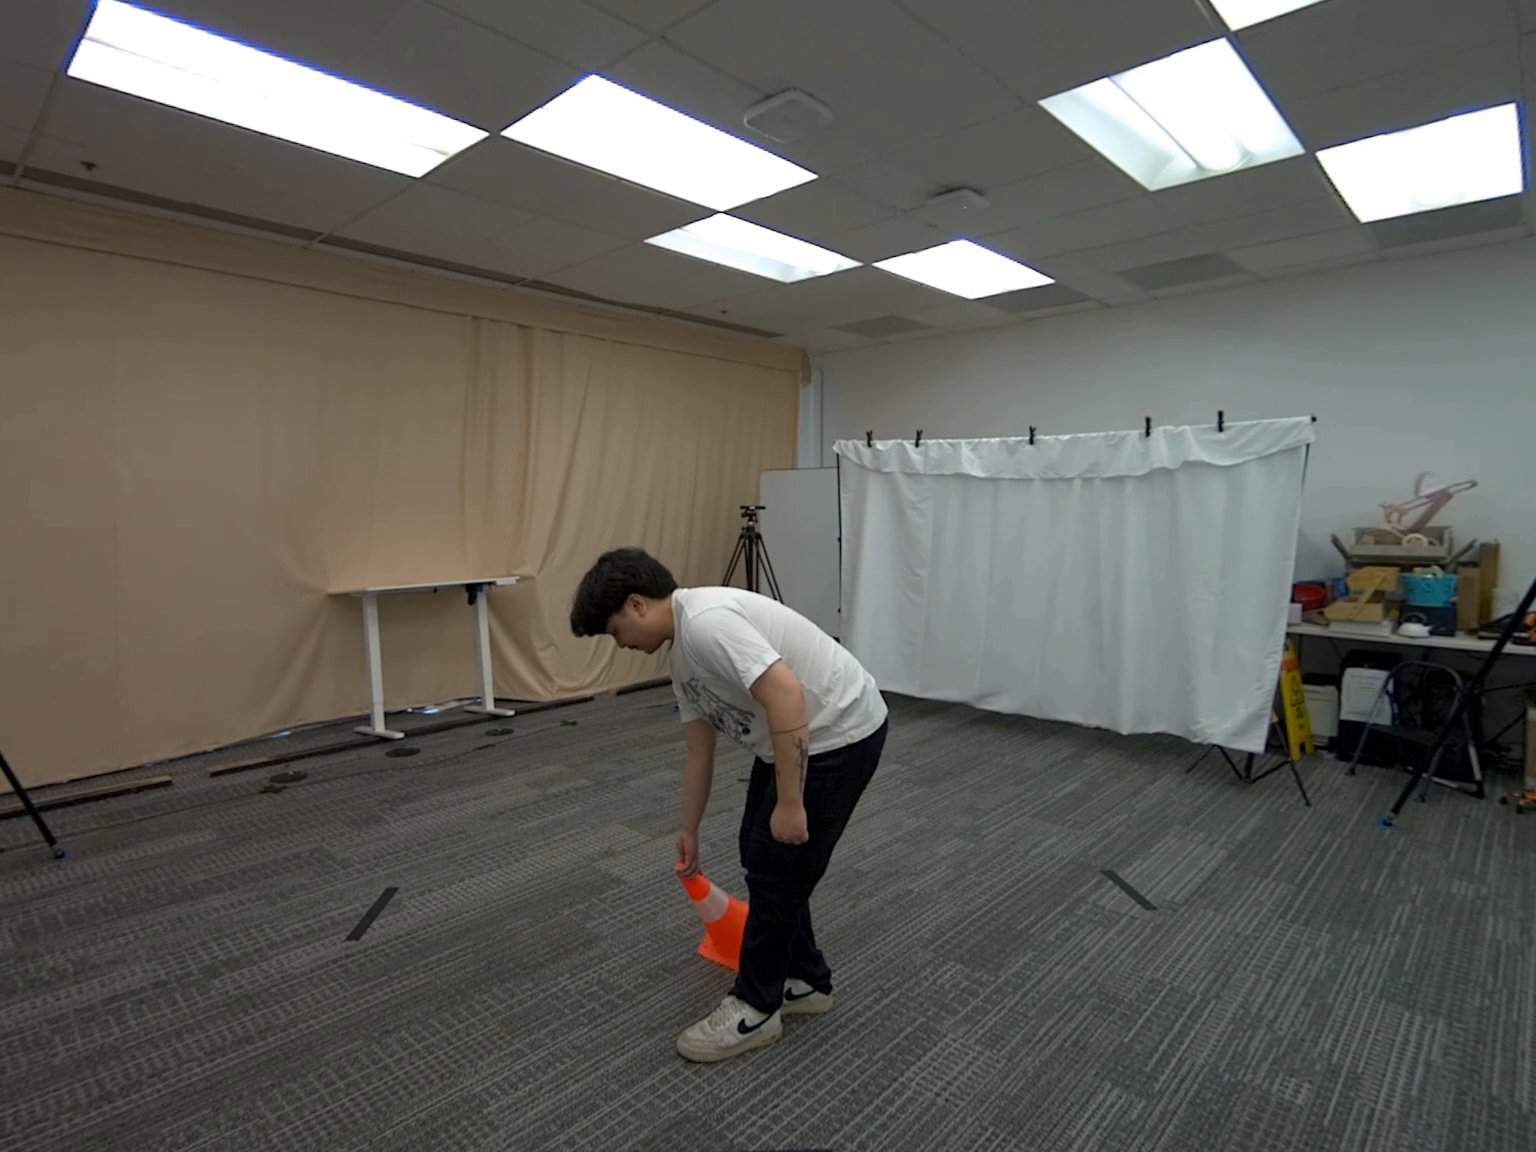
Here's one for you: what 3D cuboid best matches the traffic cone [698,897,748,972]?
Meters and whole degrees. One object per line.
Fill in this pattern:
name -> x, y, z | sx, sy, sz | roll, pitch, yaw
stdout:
traffic cone -> -0.170, 0.980, 2.515 | 0.210, 0.373, 0.203 | -8, 36, 34
